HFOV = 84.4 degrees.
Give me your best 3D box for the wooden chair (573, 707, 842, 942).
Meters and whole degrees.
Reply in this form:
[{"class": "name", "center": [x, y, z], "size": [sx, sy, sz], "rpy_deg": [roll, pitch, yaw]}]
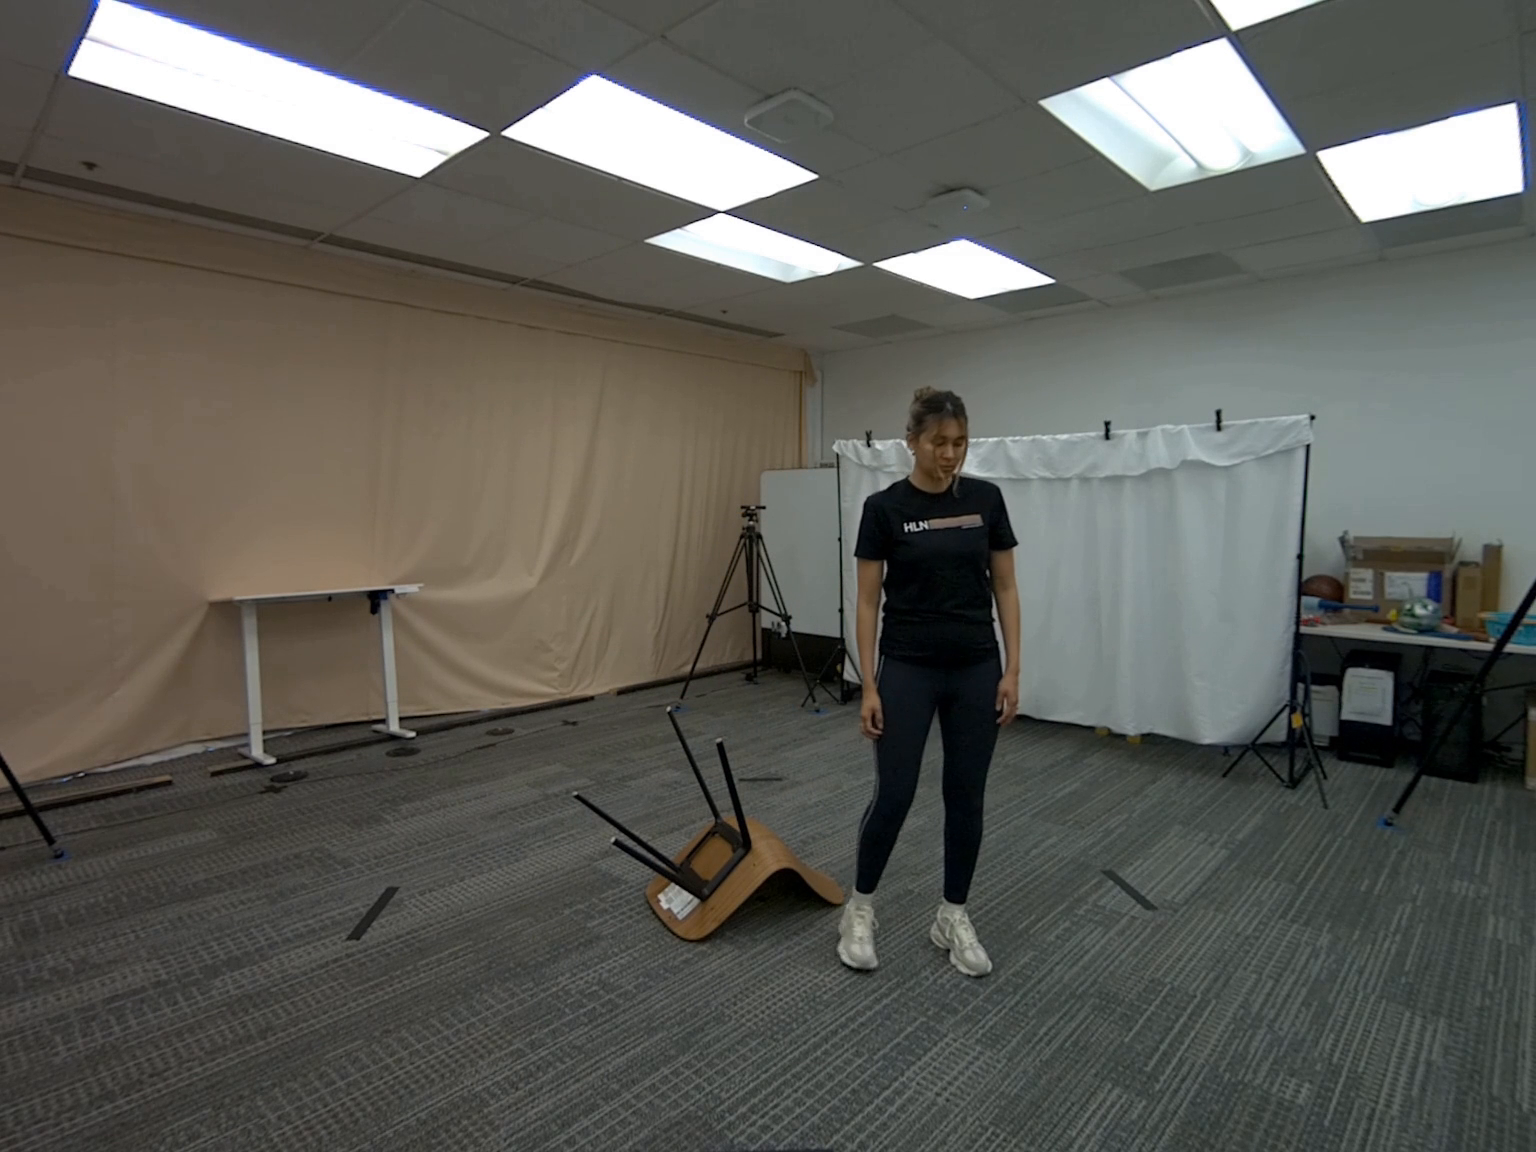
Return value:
[{"class": "wooden chair", "center": [-0.196, 0.978, 2.920], "size": [0.520, 0.859, 0.491], "rpy_deg": [-44, 21, -17]}]
